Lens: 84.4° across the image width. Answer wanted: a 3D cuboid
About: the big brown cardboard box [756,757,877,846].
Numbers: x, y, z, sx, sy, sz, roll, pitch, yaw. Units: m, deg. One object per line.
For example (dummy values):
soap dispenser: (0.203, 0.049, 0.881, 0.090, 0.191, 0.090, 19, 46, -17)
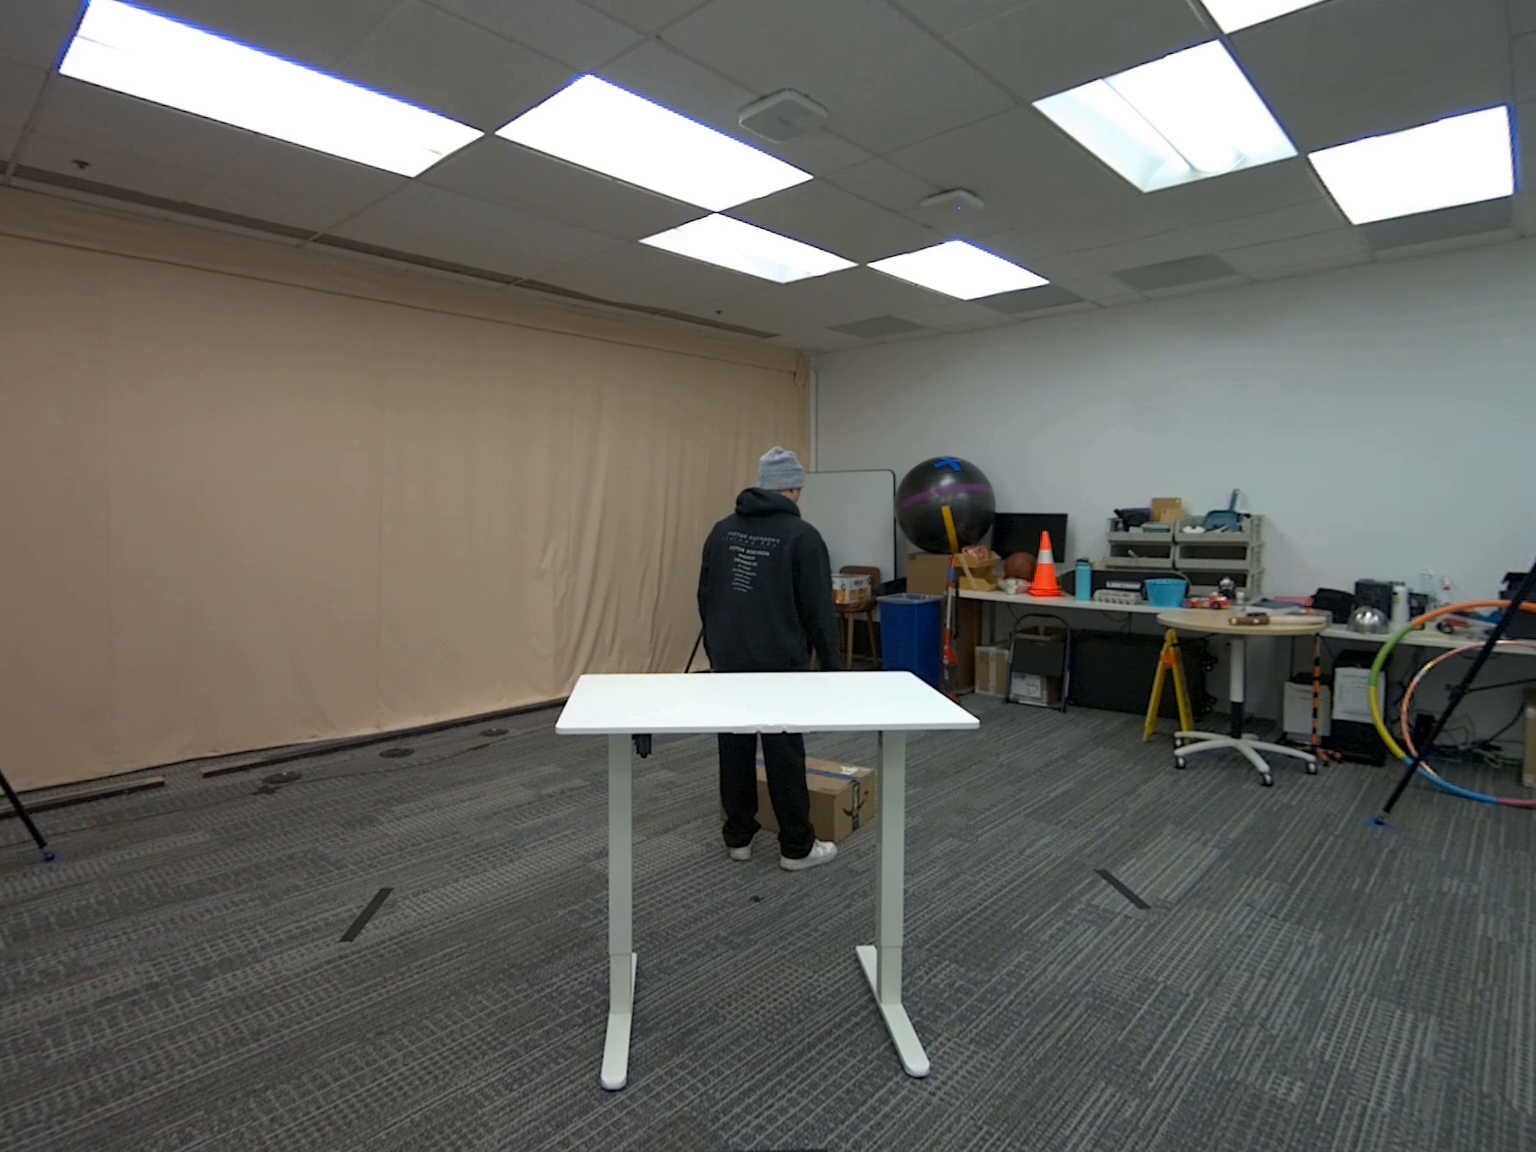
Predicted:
big brown cardboard box: (0.136, 0.968, 3.754, 0.606, 0.233, 0.406, 2, 4, 31)
